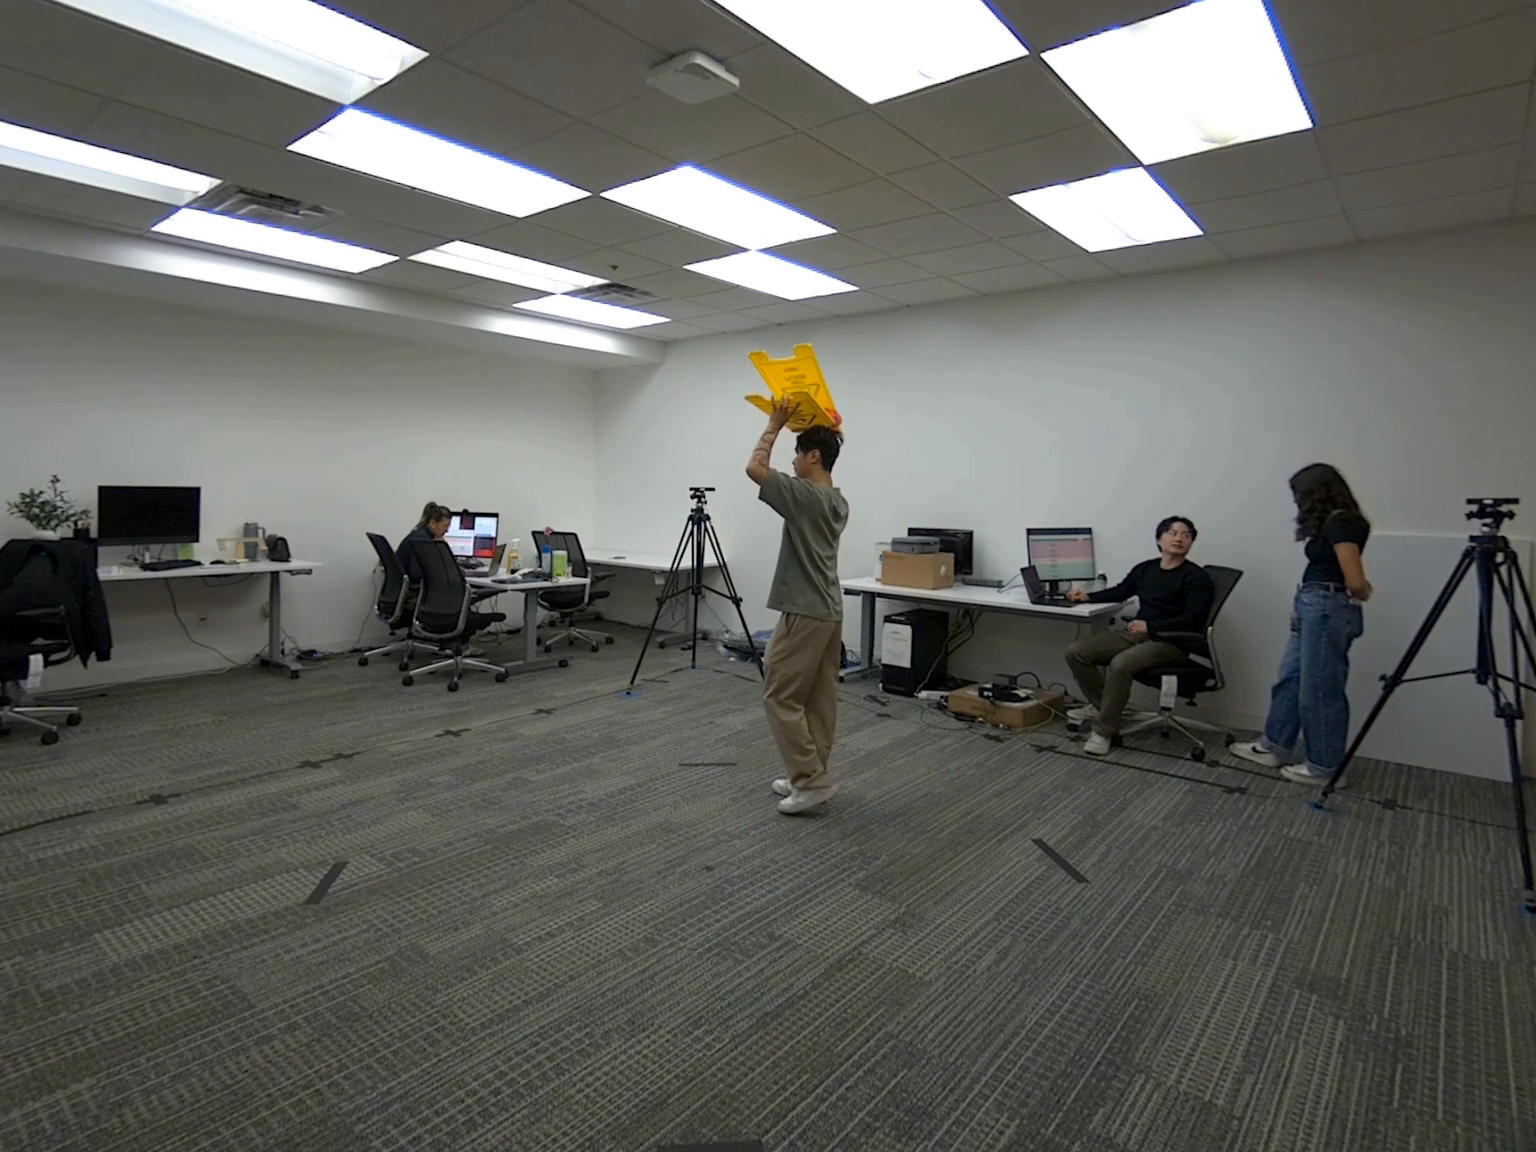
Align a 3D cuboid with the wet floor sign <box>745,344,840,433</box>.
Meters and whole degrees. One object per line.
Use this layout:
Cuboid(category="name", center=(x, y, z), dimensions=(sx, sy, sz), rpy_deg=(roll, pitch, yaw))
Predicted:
Cuboid(category="wet floor sign", center=(0.131, -0.770, 3.817), dimensions=(0.289, 0.293, 0.623), rpy_deg=(-2, -16, 22))
